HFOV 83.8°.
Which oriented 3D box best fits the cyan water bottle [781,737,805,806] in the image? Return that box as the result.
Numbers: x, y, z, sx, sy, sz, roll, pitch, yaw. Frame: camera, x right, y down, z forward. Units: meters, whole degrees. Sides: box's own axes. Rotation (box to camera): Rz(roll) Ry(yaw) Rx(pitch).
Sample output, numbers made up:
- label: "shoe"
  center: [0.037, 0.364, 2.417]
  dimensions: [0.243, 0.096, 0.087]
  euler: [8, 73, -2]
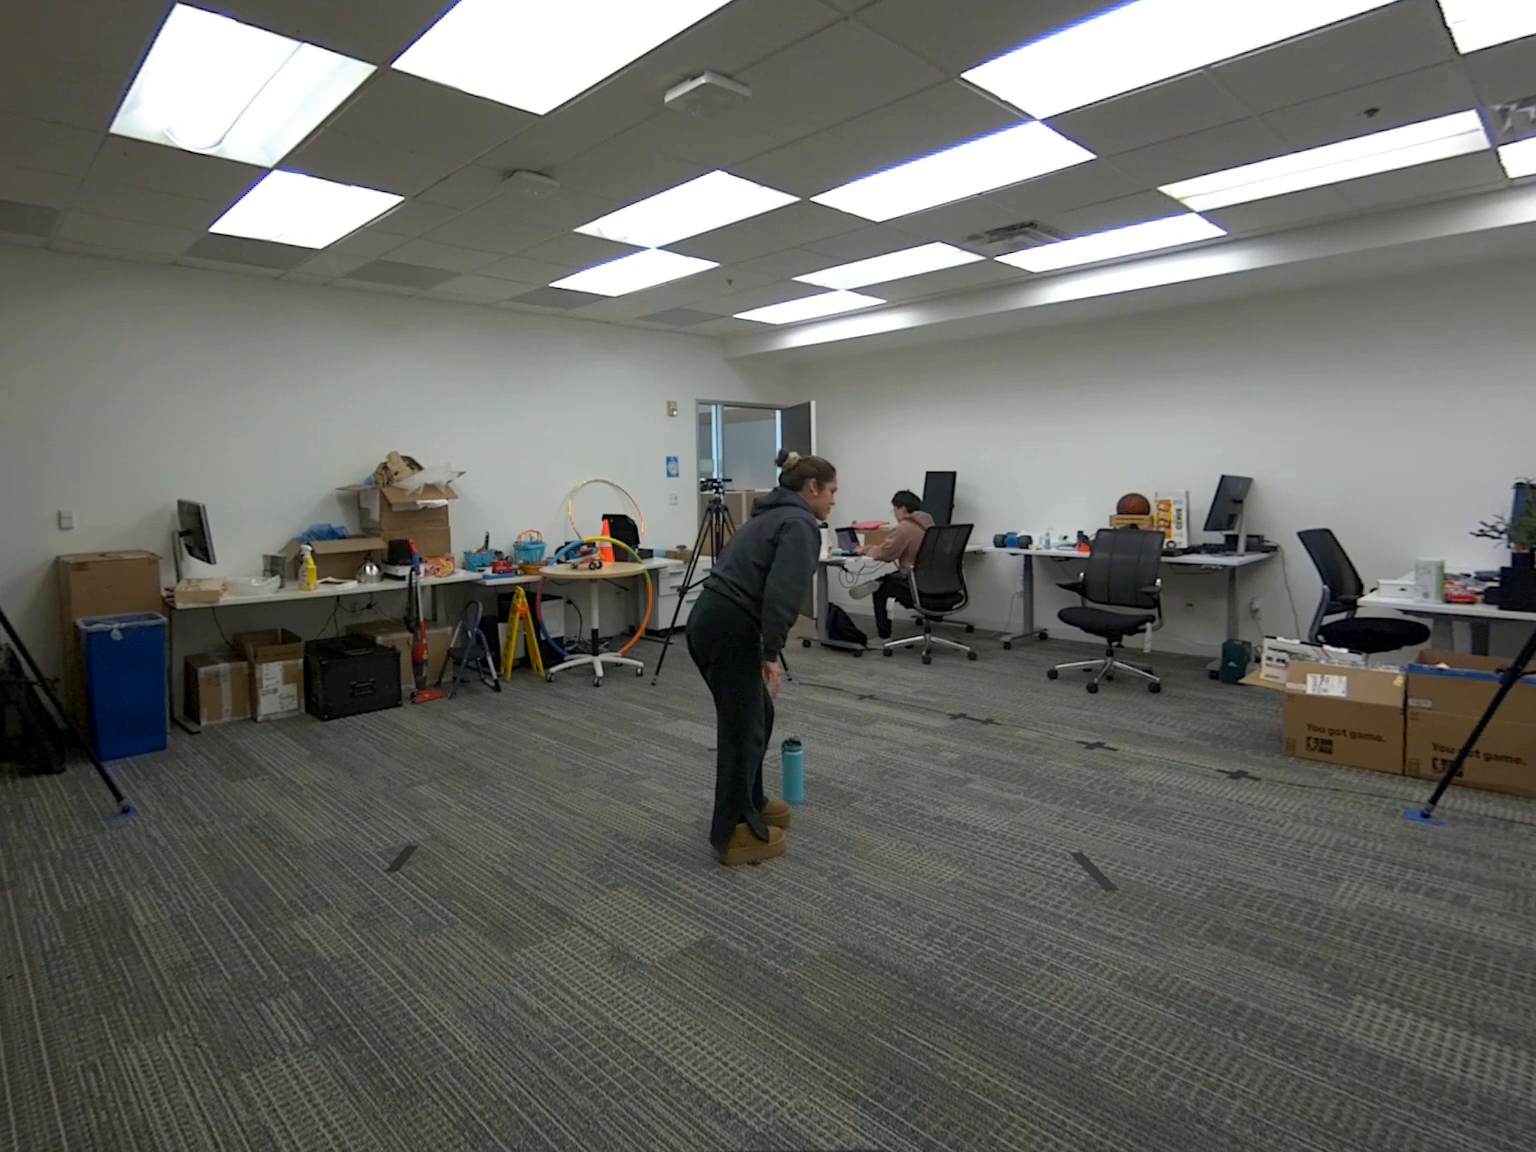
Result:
- label: "cyan water bottle"
  center: [0.110, 0.838, 3.685]
  dimensions: [0.092, 0.282, 0.093]
  euler: [-3, 4, -1]
